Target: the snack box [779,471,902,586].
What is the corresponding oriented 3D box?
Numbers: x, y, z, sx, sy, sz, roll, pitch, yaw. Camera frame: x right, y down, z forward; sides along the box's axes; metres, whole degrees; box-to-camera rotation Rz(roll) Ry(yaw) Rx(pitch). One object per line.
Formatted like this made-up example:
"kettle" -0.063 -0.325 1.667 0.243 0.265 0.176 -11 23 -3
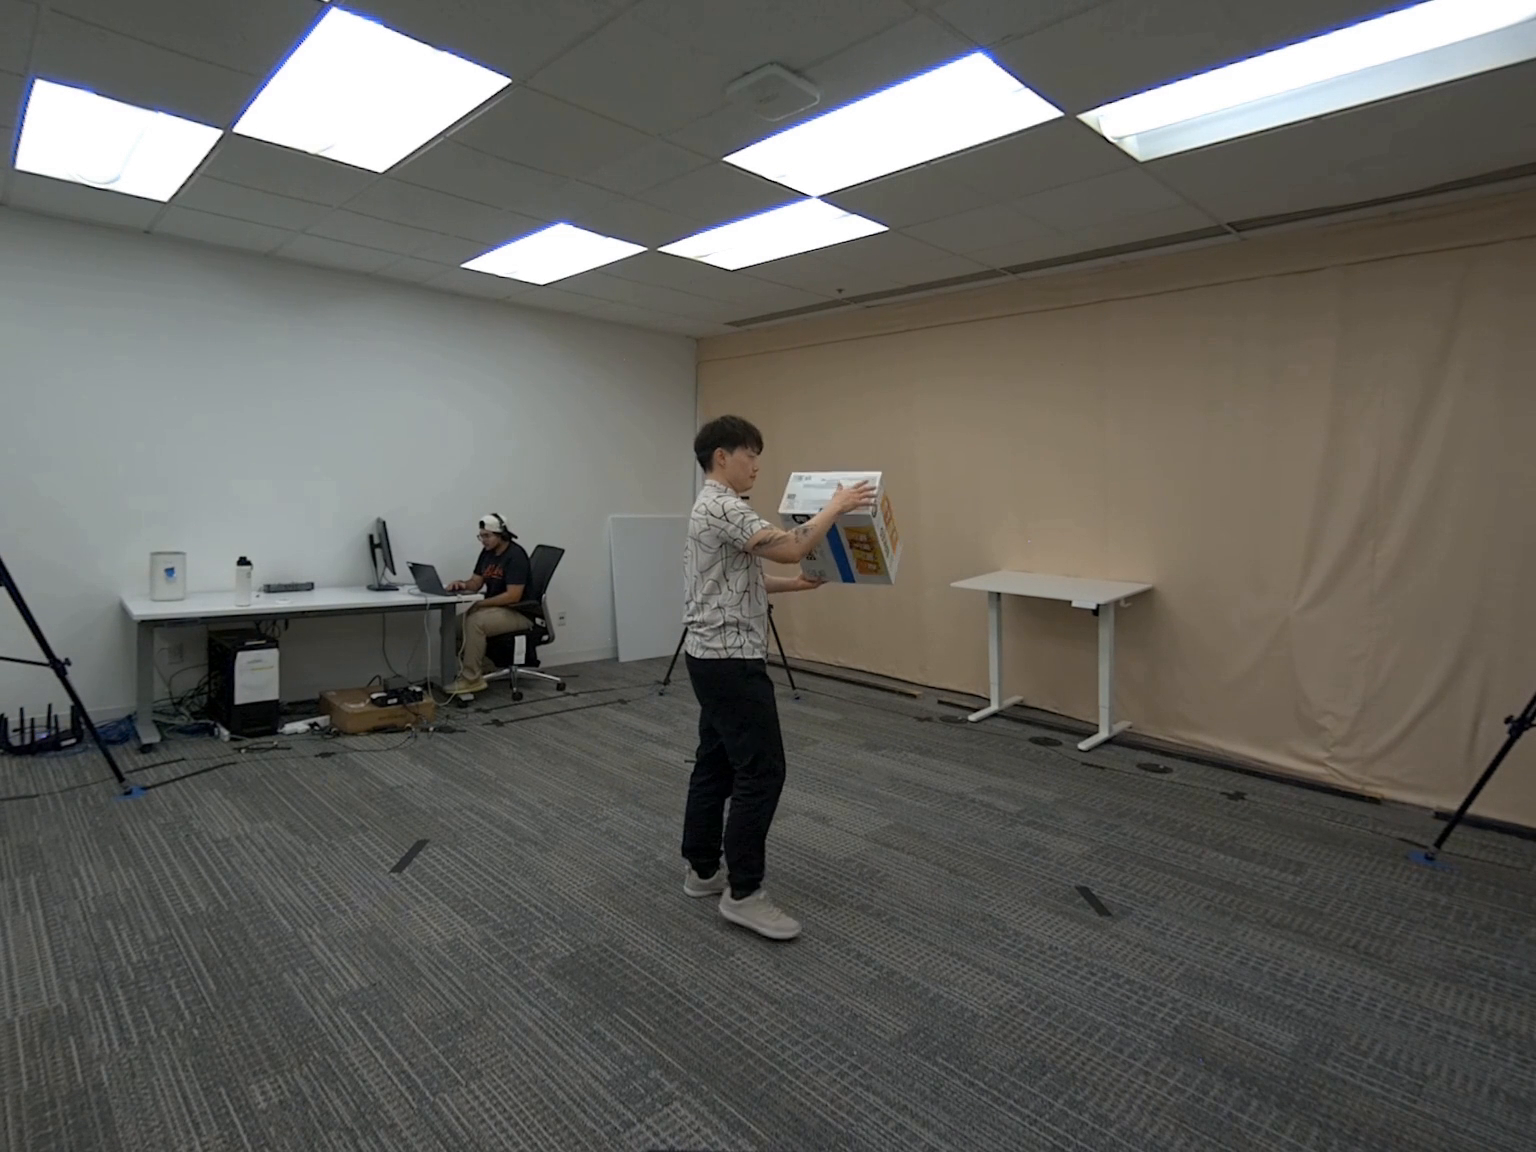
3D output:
"snack box" 0.269 -0.168 3.094 0.347 0.208 0.393 3 -37 24
